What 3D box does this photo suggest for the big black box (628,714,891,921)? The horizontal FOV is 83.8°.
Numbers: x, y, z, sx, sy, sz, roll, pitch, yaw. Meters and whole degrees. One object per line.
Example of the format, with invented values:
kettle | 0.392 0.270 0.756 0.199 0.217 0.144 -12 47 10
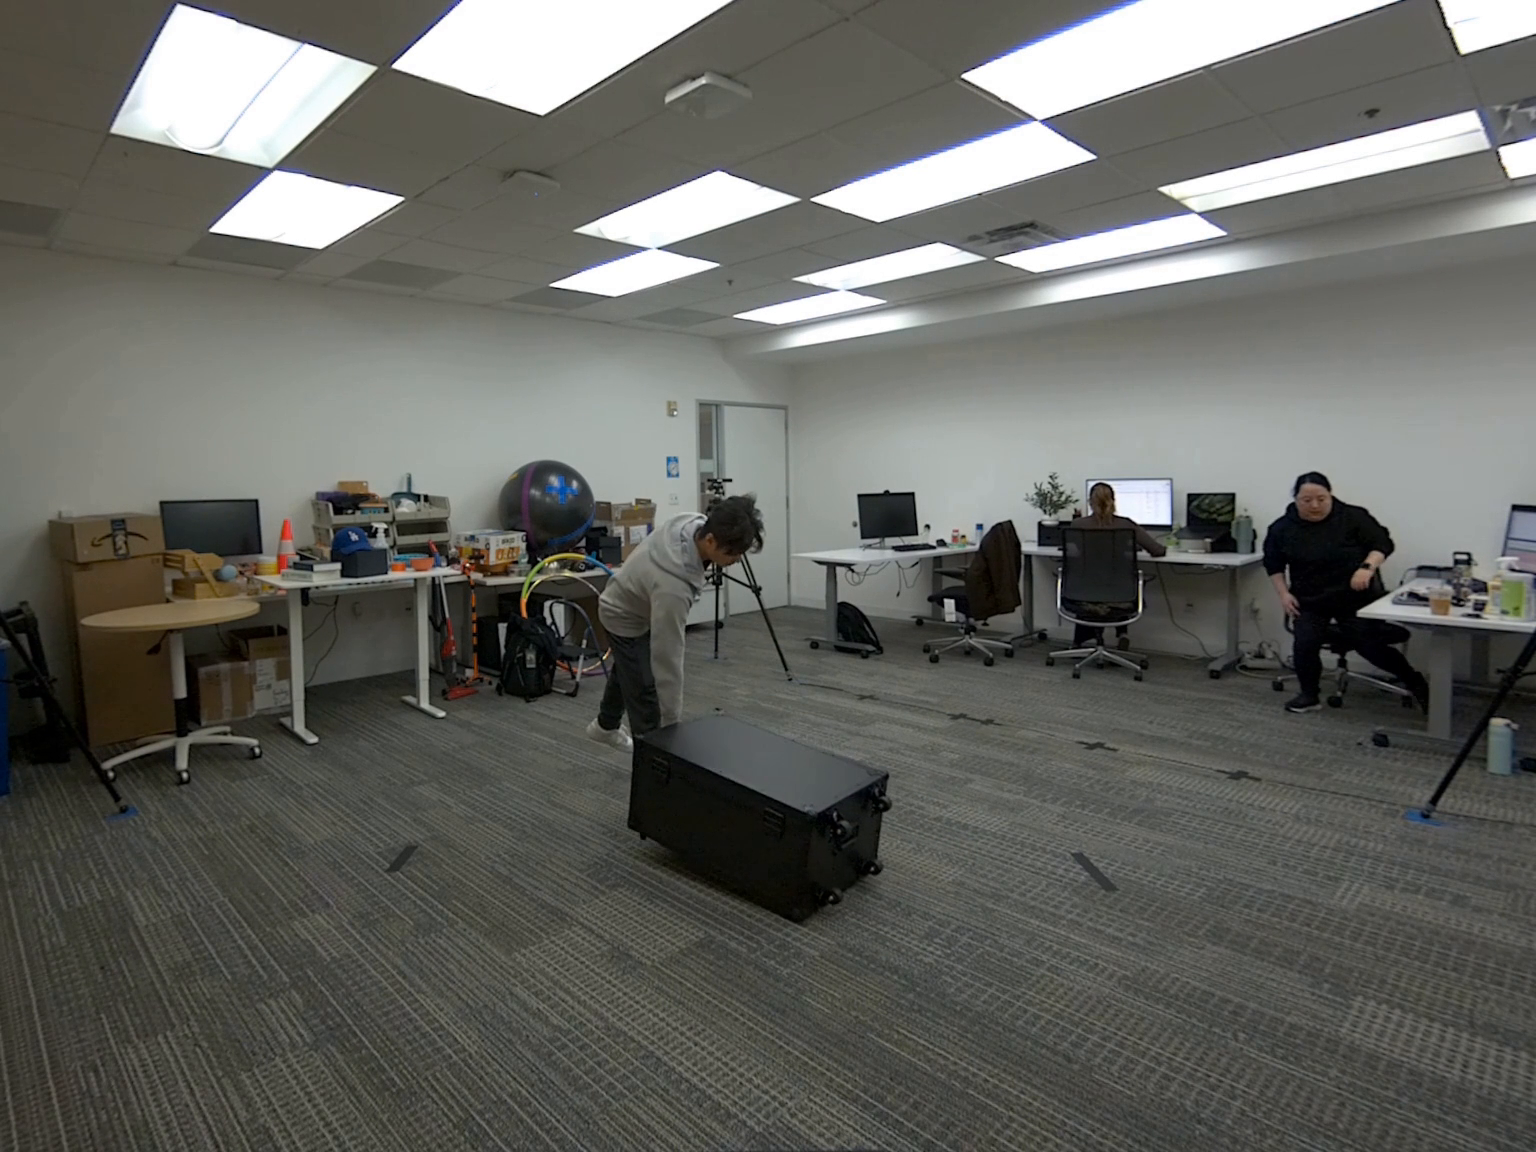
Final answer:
big black box | -0.065 0.814 3.083 0.890 0.393 0.508 13 12 37
